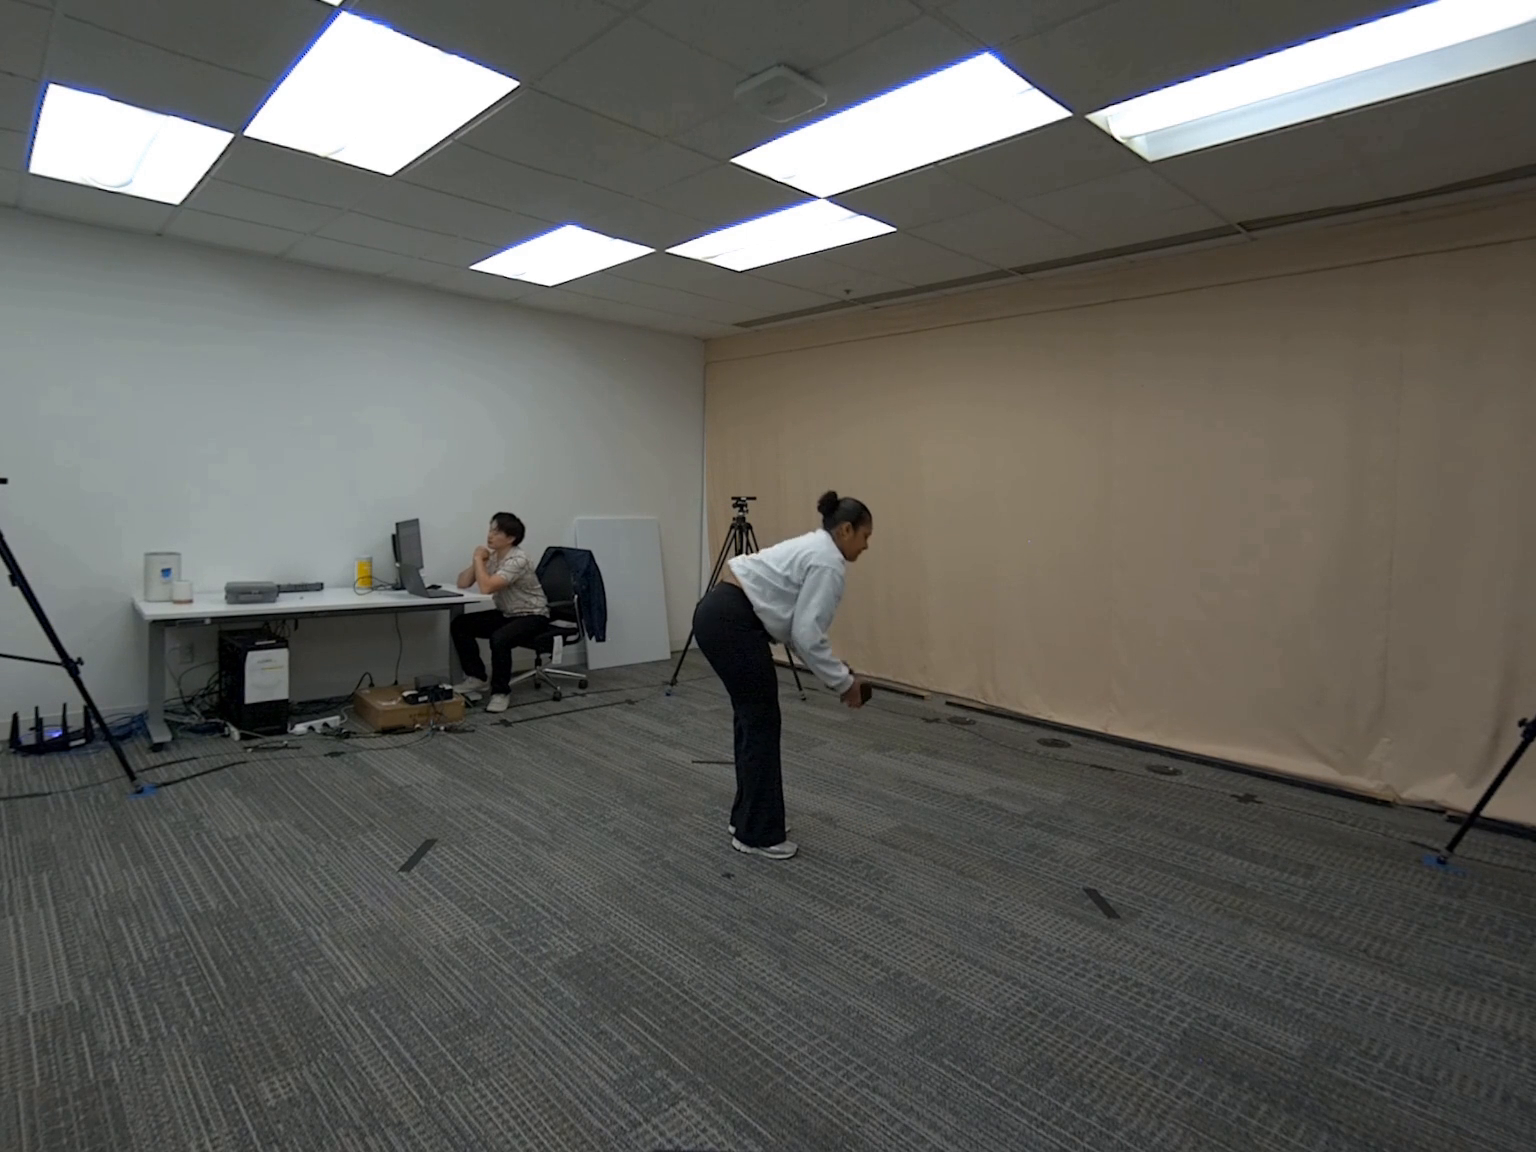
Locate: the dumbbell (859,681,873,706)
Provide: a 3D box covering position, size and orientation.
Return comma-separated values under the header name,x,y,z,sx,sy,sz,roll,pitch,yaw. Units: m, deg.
name,x,y,z,sx,sy,sz,roll,pitch,yaw
dumbbell,0.311,0.436,3.434,0.122,0.109,0.296,21,1,-11
